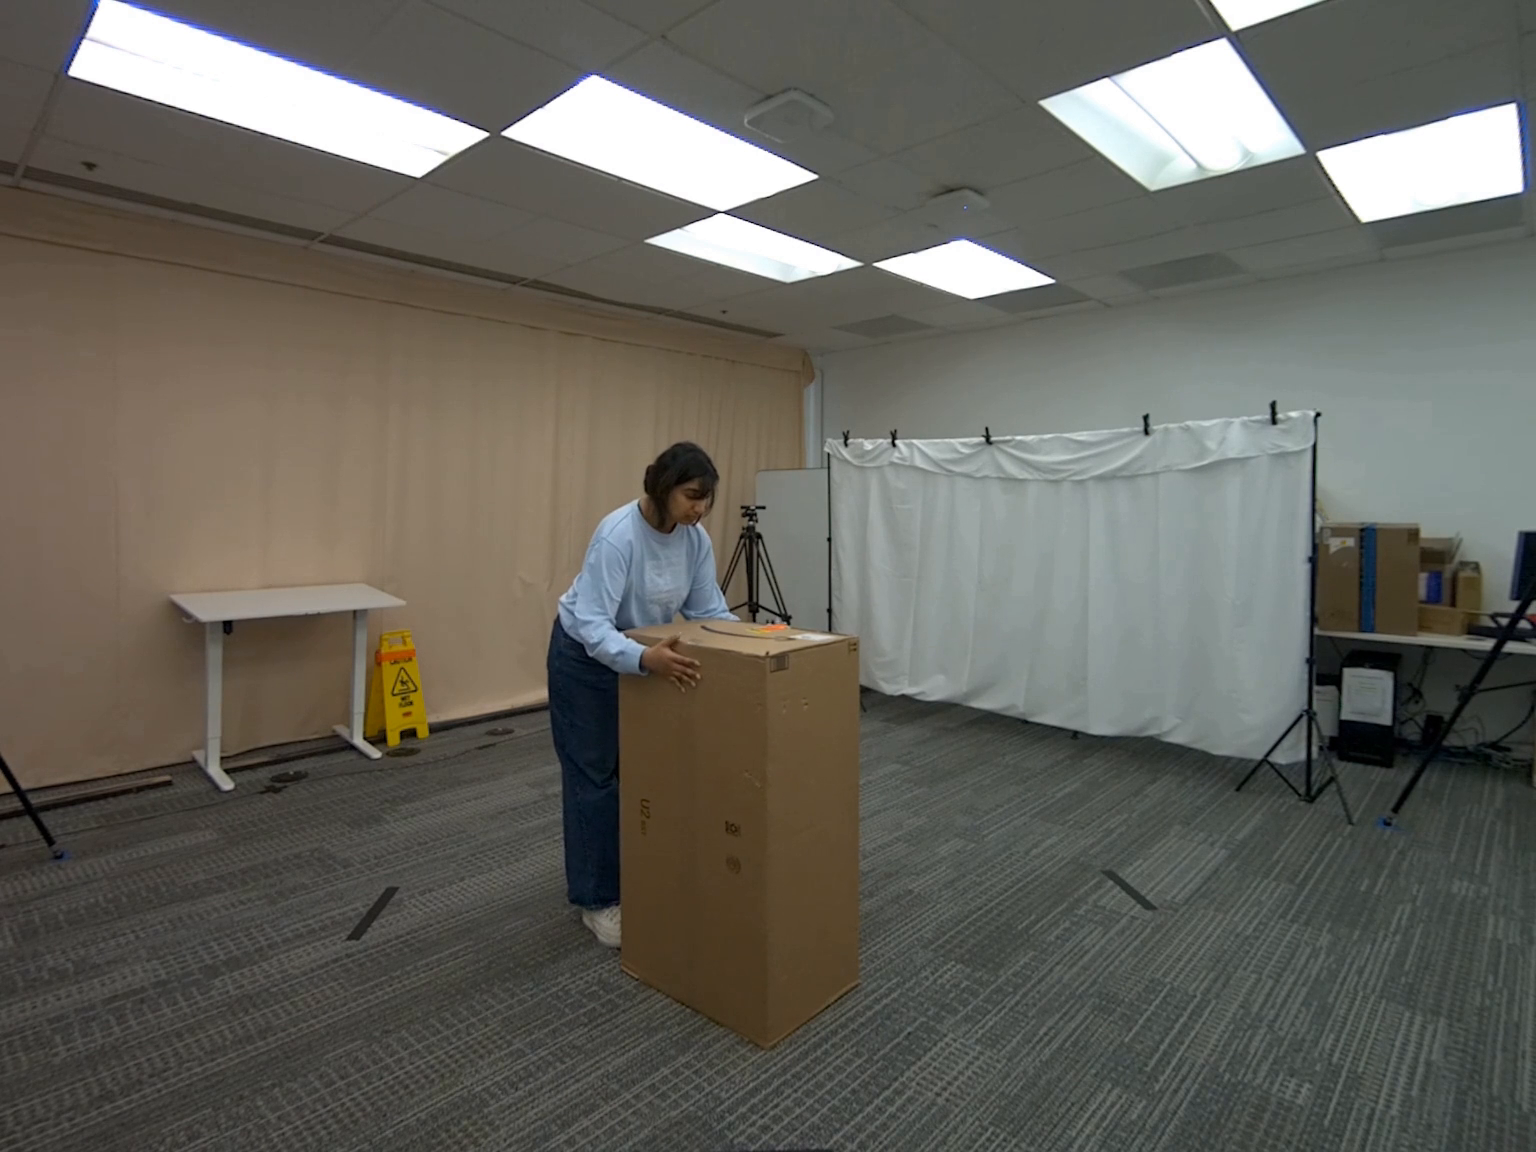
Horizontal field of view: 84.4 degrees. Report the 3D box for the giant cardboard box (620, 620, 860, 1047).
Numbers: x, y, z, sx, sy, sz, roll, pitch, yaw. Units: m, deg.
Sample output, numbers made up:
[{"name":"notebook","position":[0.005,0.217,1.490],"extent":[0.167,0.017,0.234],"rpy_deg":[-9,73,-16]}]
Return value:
[{"name":"giant cardboard box","position":[-0.078,0.681,2.462],"extent":[0.603,1.025,0.433],"rpy_deg":[3,3,42]}]
